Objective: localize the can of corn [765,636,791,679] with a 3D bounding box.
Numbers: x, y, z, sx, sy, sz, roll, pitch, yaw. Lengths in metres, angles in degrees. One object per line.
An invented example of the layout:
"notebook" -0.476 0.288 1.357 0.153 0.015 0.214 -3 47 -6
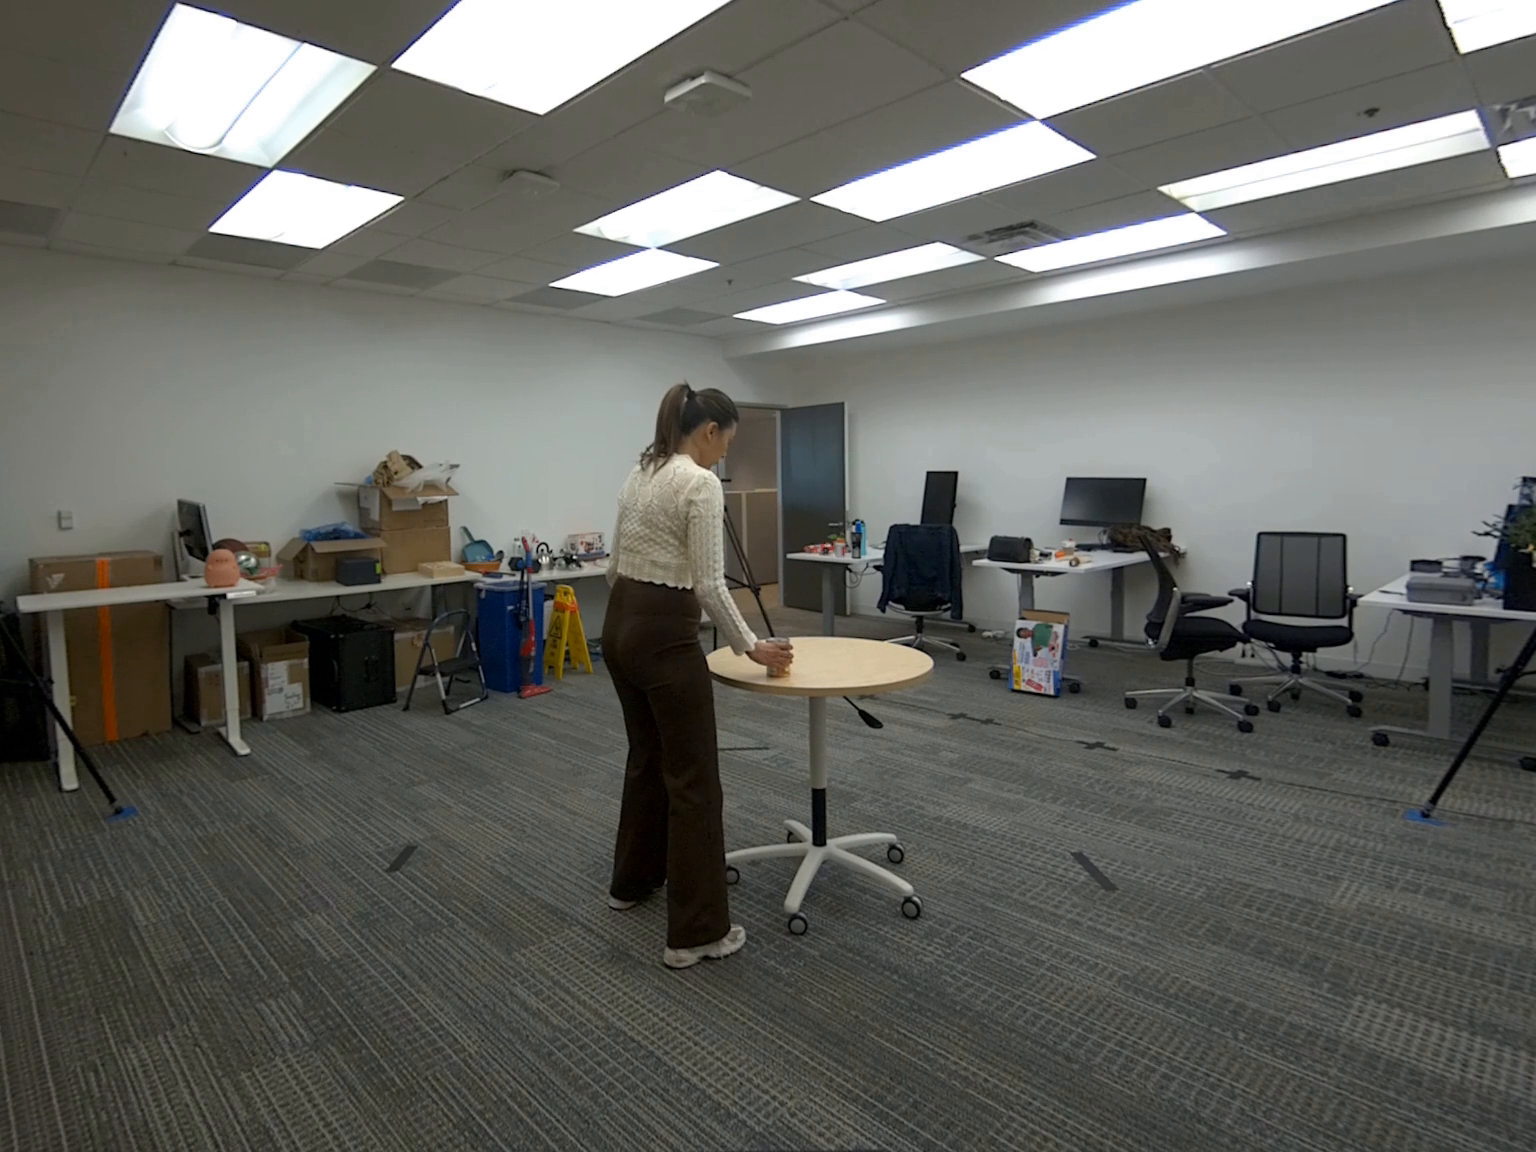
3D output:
"can of corn" 0.034 0.260 2.662 0.074 0.110 0.074 -7 5 -1
